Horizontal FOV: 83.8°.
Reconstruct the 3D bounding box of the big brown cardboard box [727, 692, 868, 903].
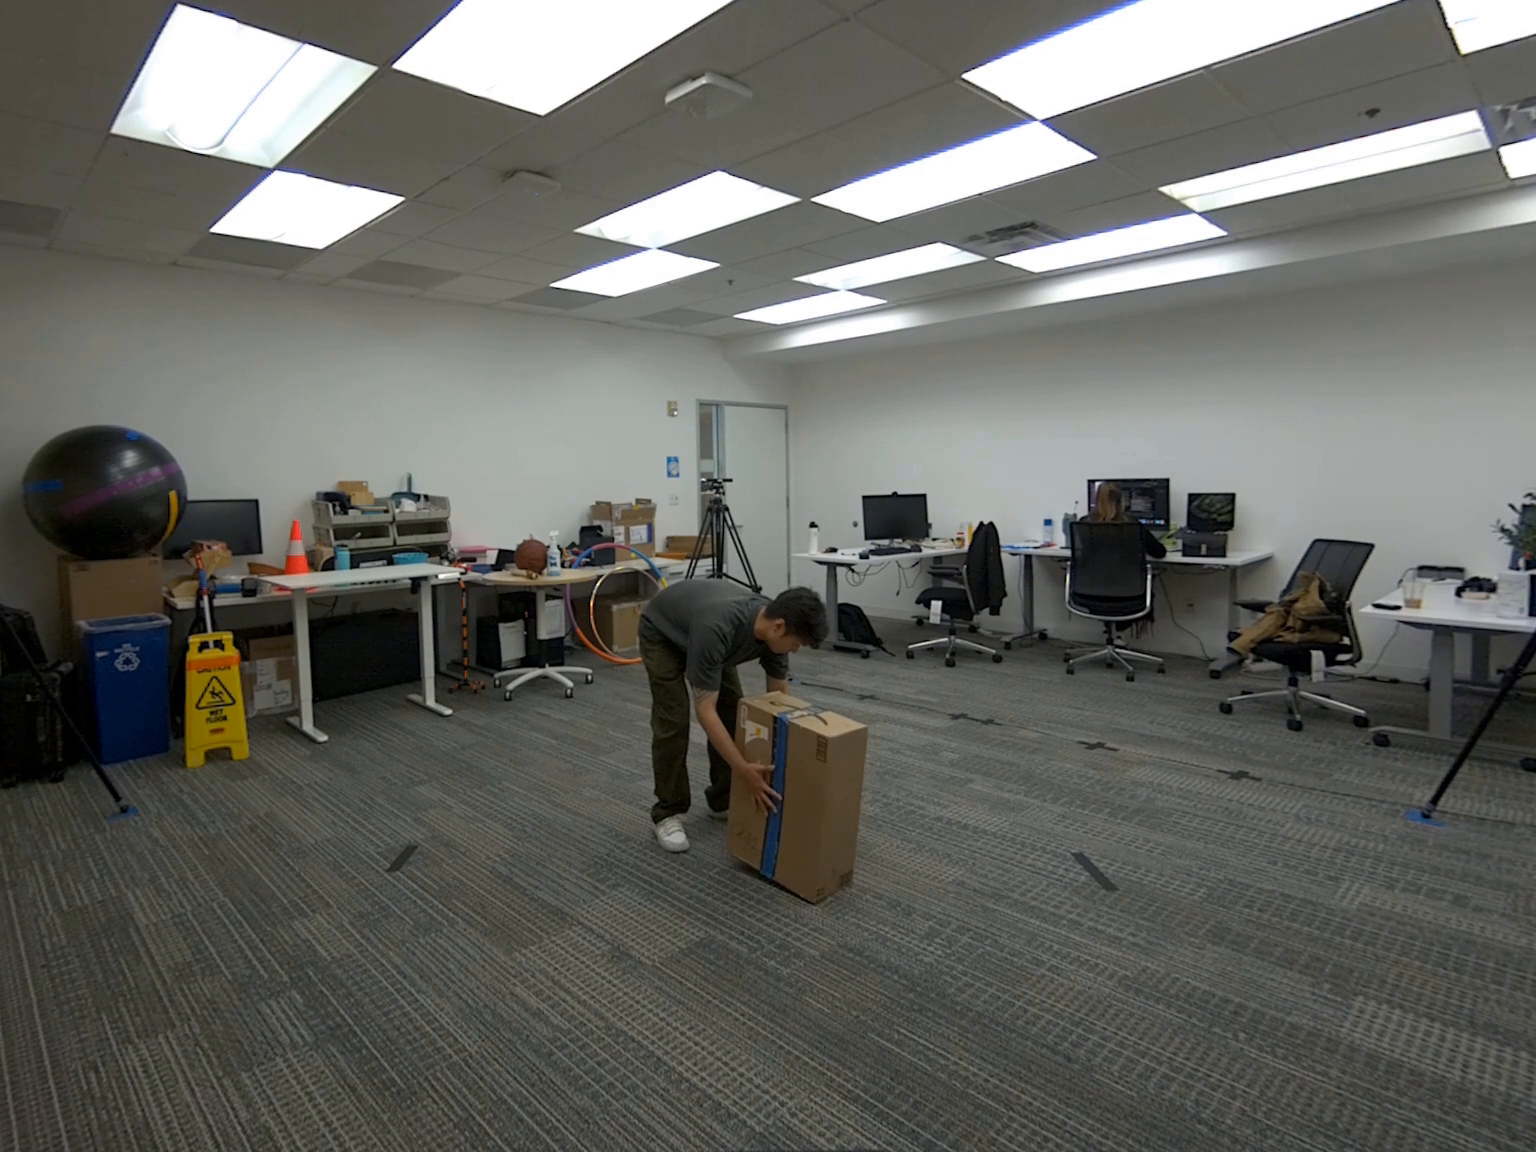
[{"bbox_3d":[0.096,0.744,2.972,0.432,0.585,0.227,10,9,44],"label":"big brown cardboard box"}]
